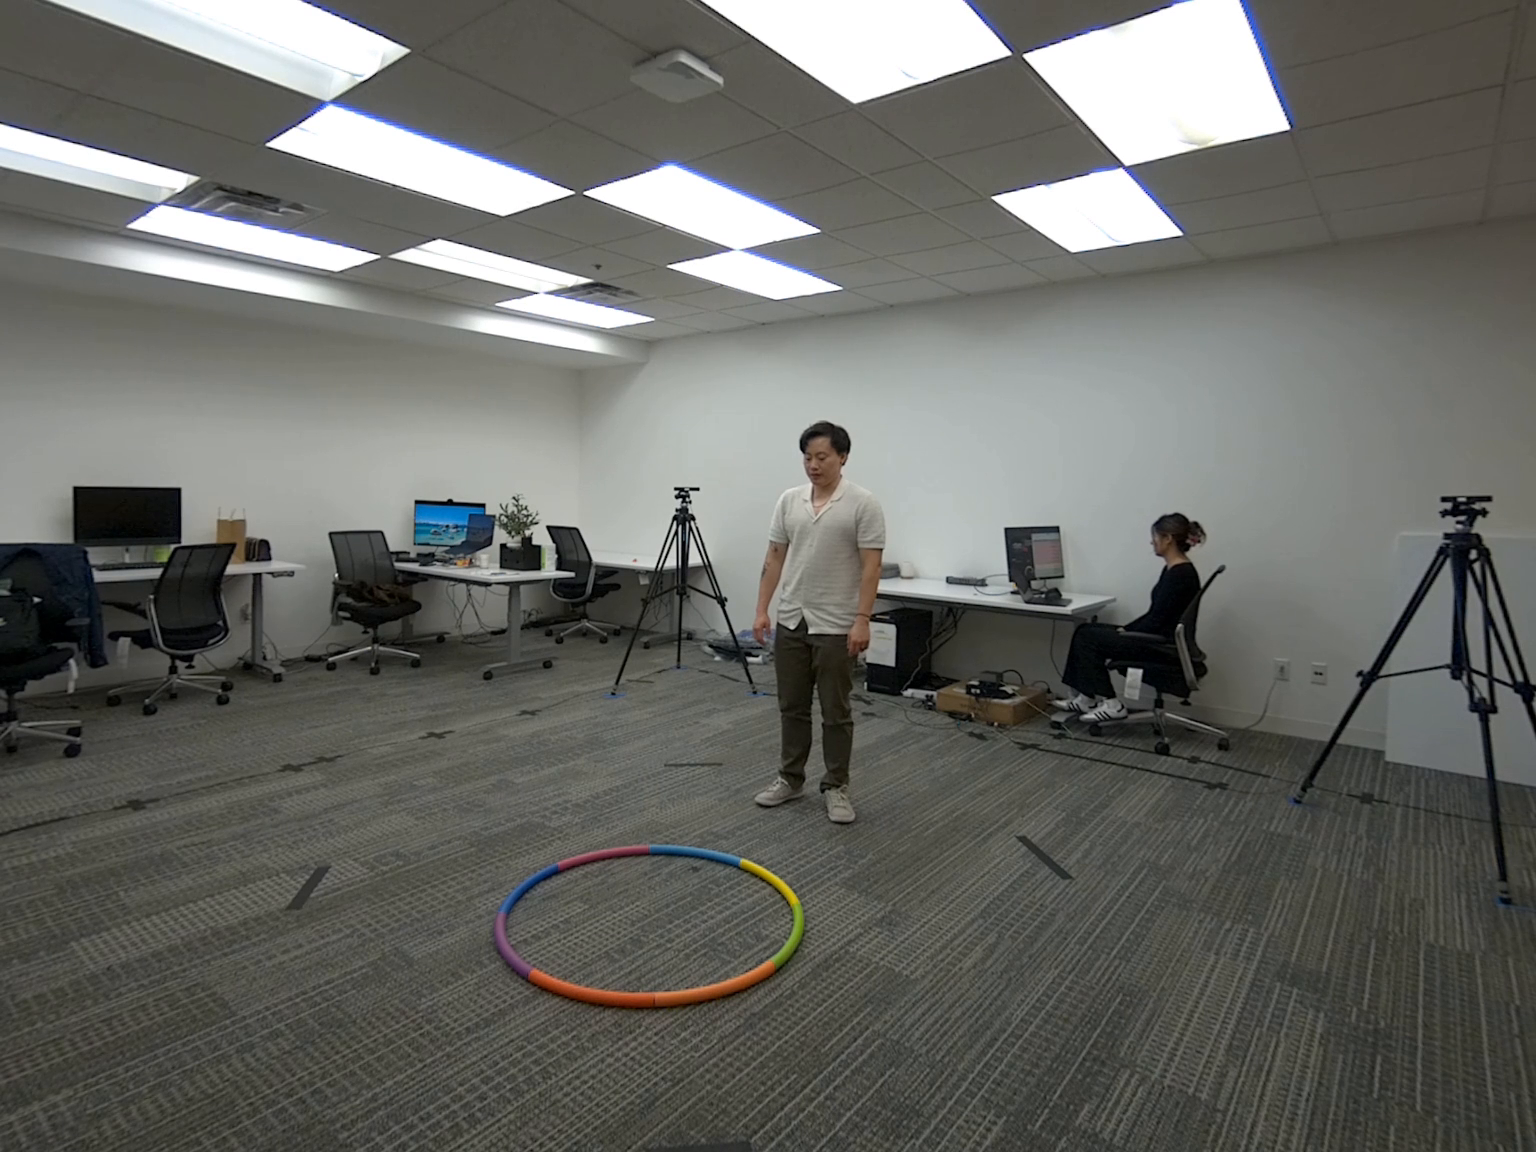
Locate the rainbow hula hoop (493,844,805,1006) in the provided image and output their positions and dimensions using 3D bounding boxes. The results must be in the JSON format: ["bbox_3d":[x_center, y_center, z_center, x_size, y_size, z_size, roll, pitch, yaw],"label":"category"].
[{"bbox_3d":[-0.385,1.069,2.752,0.978,0.035,0.983,0,5,-2],"label":"rainbow hula hoop"}]
